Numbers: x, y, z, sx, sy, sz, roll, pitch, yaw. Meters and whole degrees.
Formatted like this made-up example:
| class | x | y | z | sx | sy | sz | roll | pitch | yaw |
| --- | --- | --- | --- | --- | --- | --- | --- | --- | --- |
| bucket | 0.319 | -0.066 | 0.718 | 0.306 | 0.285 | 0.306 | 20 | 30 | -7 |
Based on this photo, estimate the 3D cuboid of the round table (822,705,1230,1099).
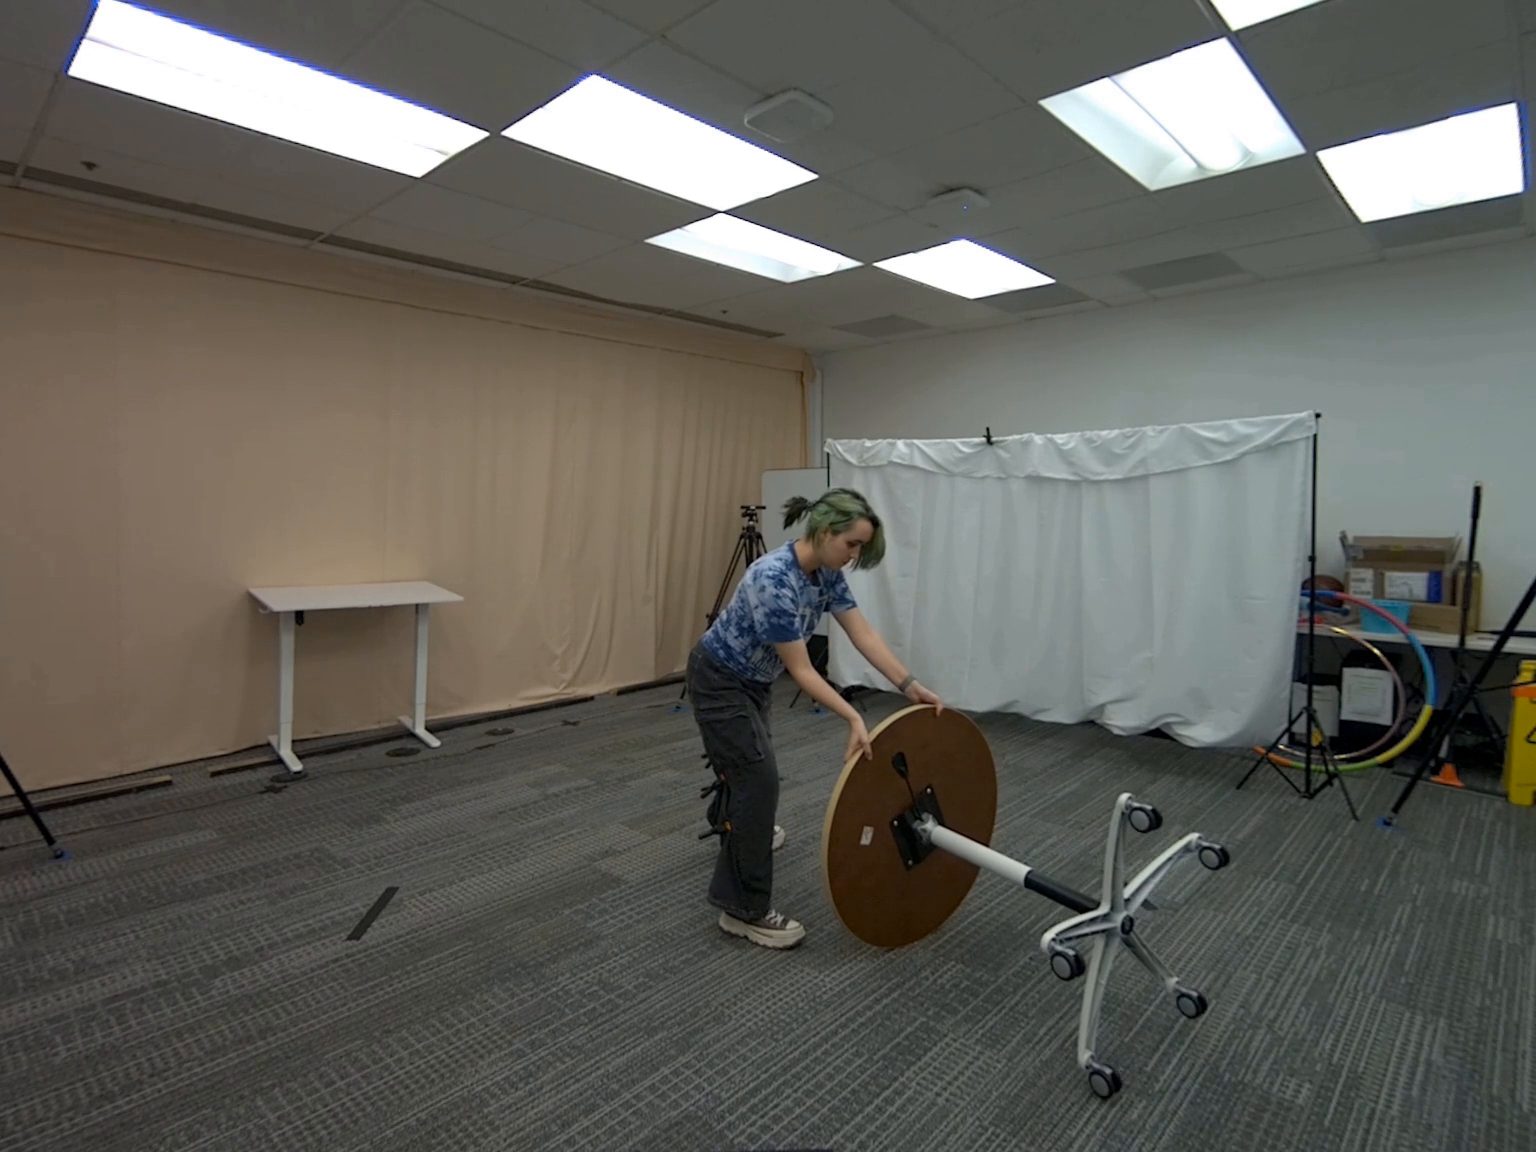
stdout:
| class | x | y | z | sx | sy | sz | roll | pitch | yaw |
| --- | --- | --- | --- | --- | --- | --- | --- | --- | --- |
| round table | 0.697 | 0.838 | 2.336 | 0.742 | 0.761 | 0.820 | -3 | 7 | -35 |
